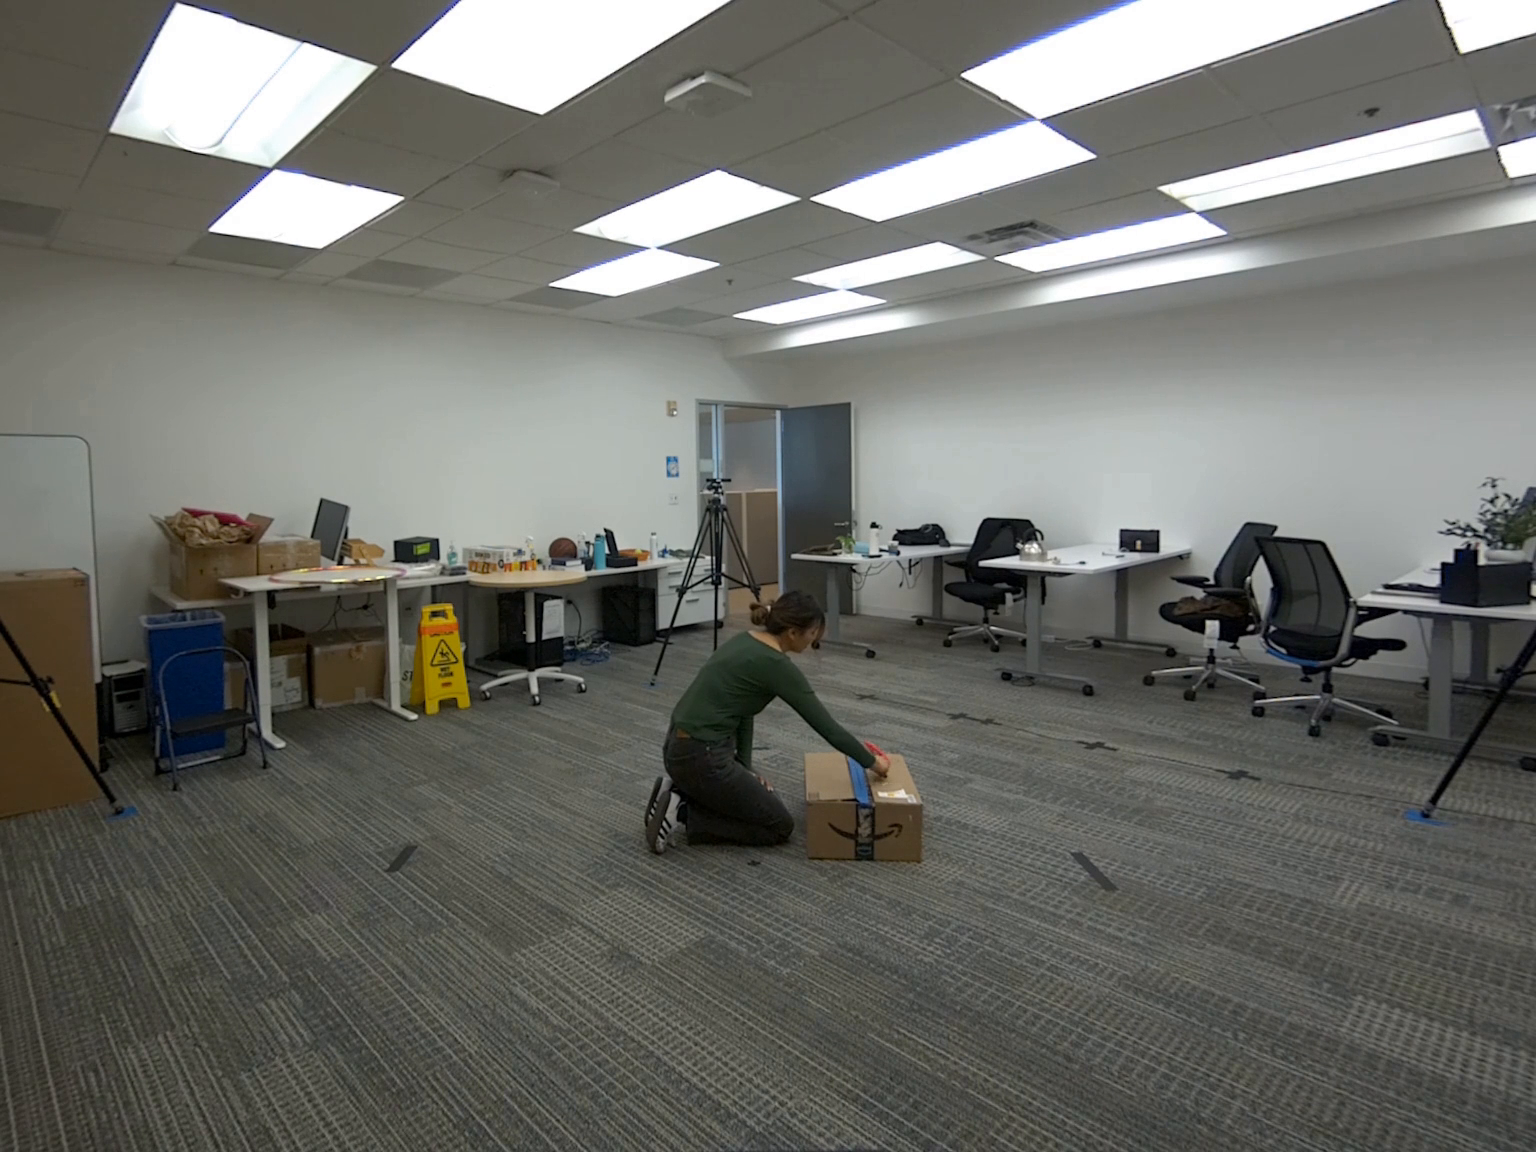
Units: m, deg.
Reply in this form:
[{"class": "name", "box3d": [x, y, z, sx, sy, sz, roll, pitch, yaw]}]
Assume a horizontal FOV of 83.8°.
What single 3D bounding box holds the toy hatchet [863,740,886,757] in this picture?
[{"class": "toy hatchet", "box3d": [0.456, 0.746, 3.427, 0.129, 0.029, 0.275, 35, 8, -14]}]
